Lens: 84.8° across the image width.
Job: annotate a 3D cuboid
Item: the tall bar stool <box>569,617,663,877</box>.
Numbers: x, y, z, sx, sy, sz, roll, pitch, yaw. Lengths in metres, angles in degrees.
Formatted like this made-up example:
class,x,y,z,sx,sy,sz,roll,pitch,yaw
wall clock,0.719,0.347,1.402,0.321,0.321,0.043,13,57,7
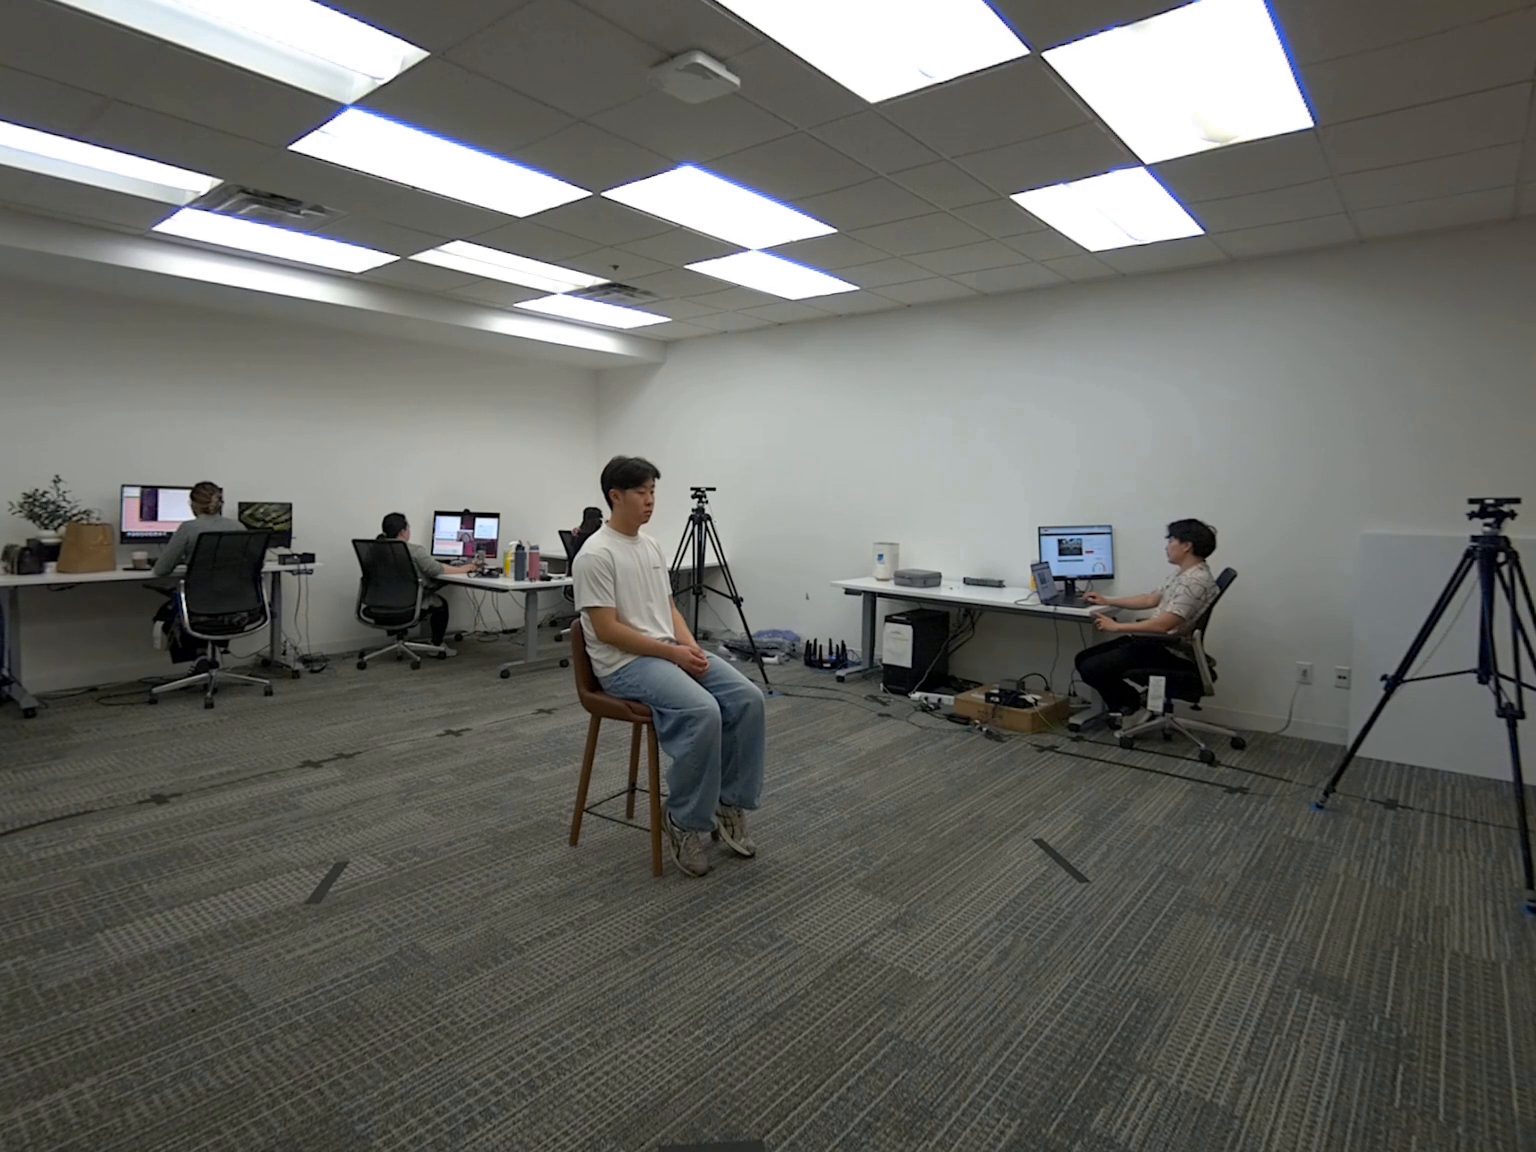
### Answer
class,x,y,z,sx,sy,sz,roll,pitch,yaw
tall bar stool,-0.500,0.606,3.317,0.481,0.889,0.444,0,1,31
